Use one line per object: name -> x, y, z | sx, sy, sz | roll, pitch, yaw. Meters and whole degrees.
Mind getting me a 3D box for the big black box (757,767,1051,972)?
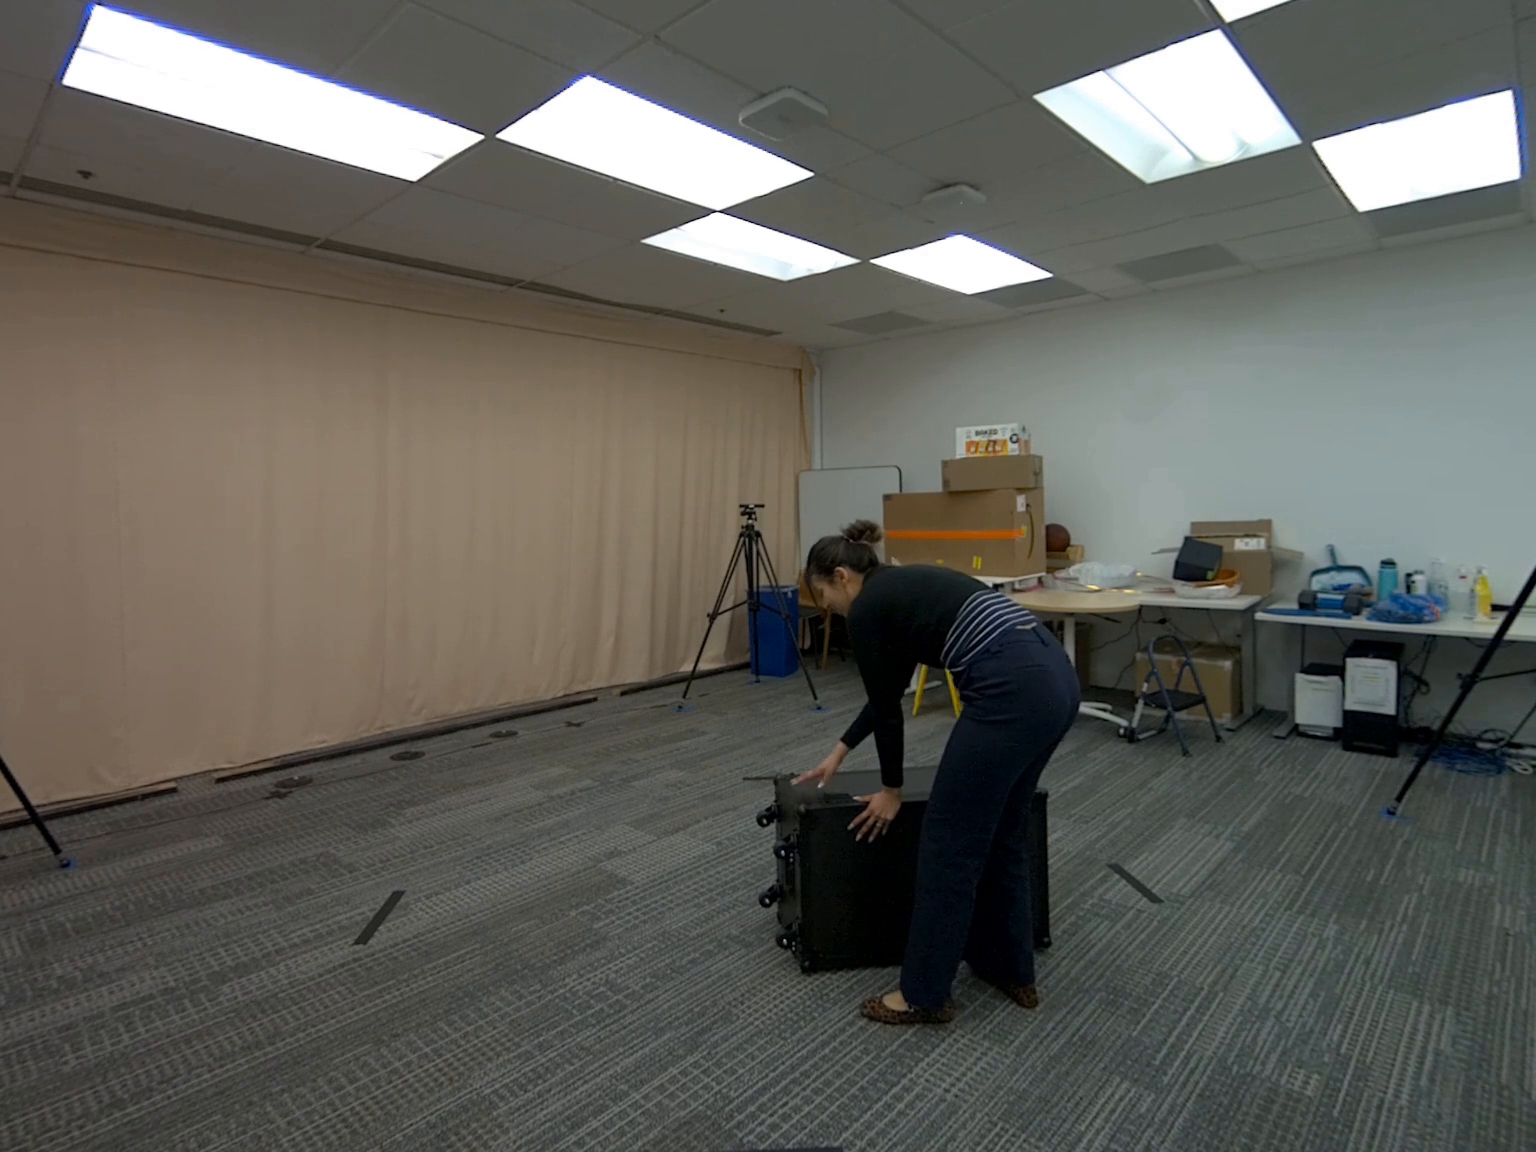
big black box -> 0.413, 0.901, 2.713 | 0.853, 0.521, 0.400 | -2, 1, -9
